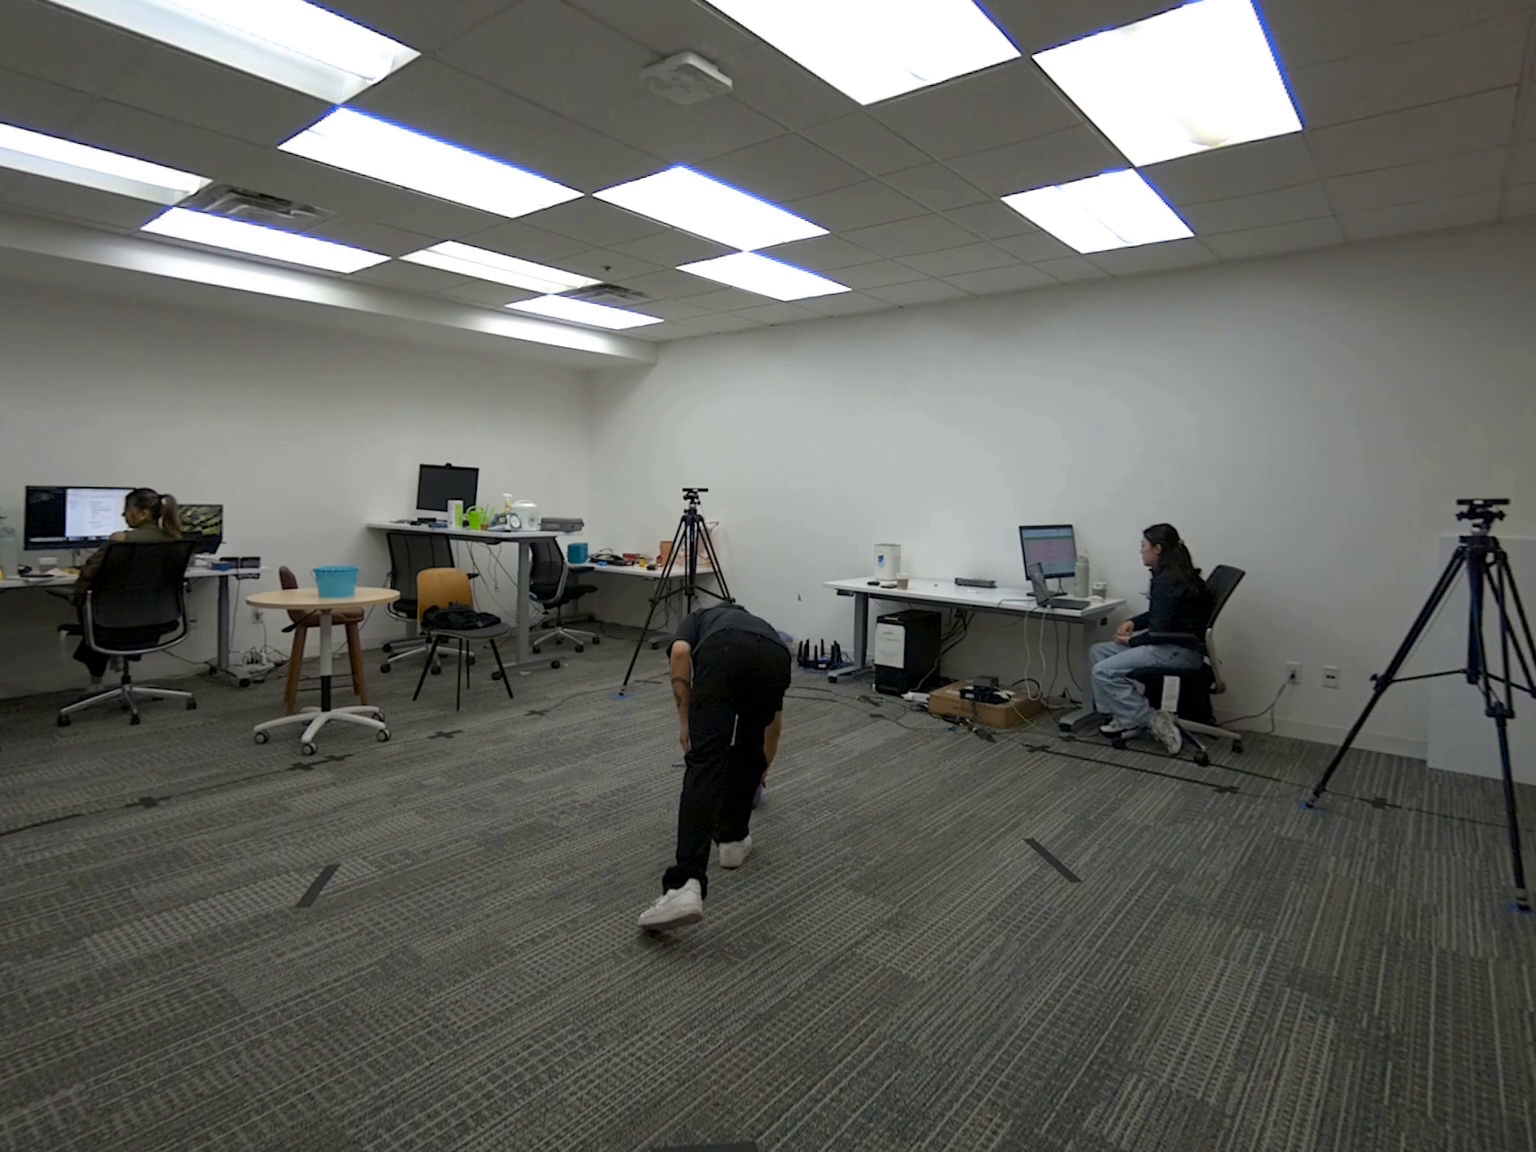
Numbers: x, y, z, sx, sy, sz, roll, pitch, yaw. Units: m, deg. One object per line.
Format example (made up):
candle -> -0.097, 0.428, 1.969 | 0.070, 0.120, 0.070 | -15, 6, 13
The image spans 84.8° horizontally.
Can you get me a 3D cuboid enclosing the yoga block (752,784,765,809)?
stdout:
yoga block -> -0.160, 0.939, 3.778 | 0.232, 0.076, 0.148 | 4, 4, 9
